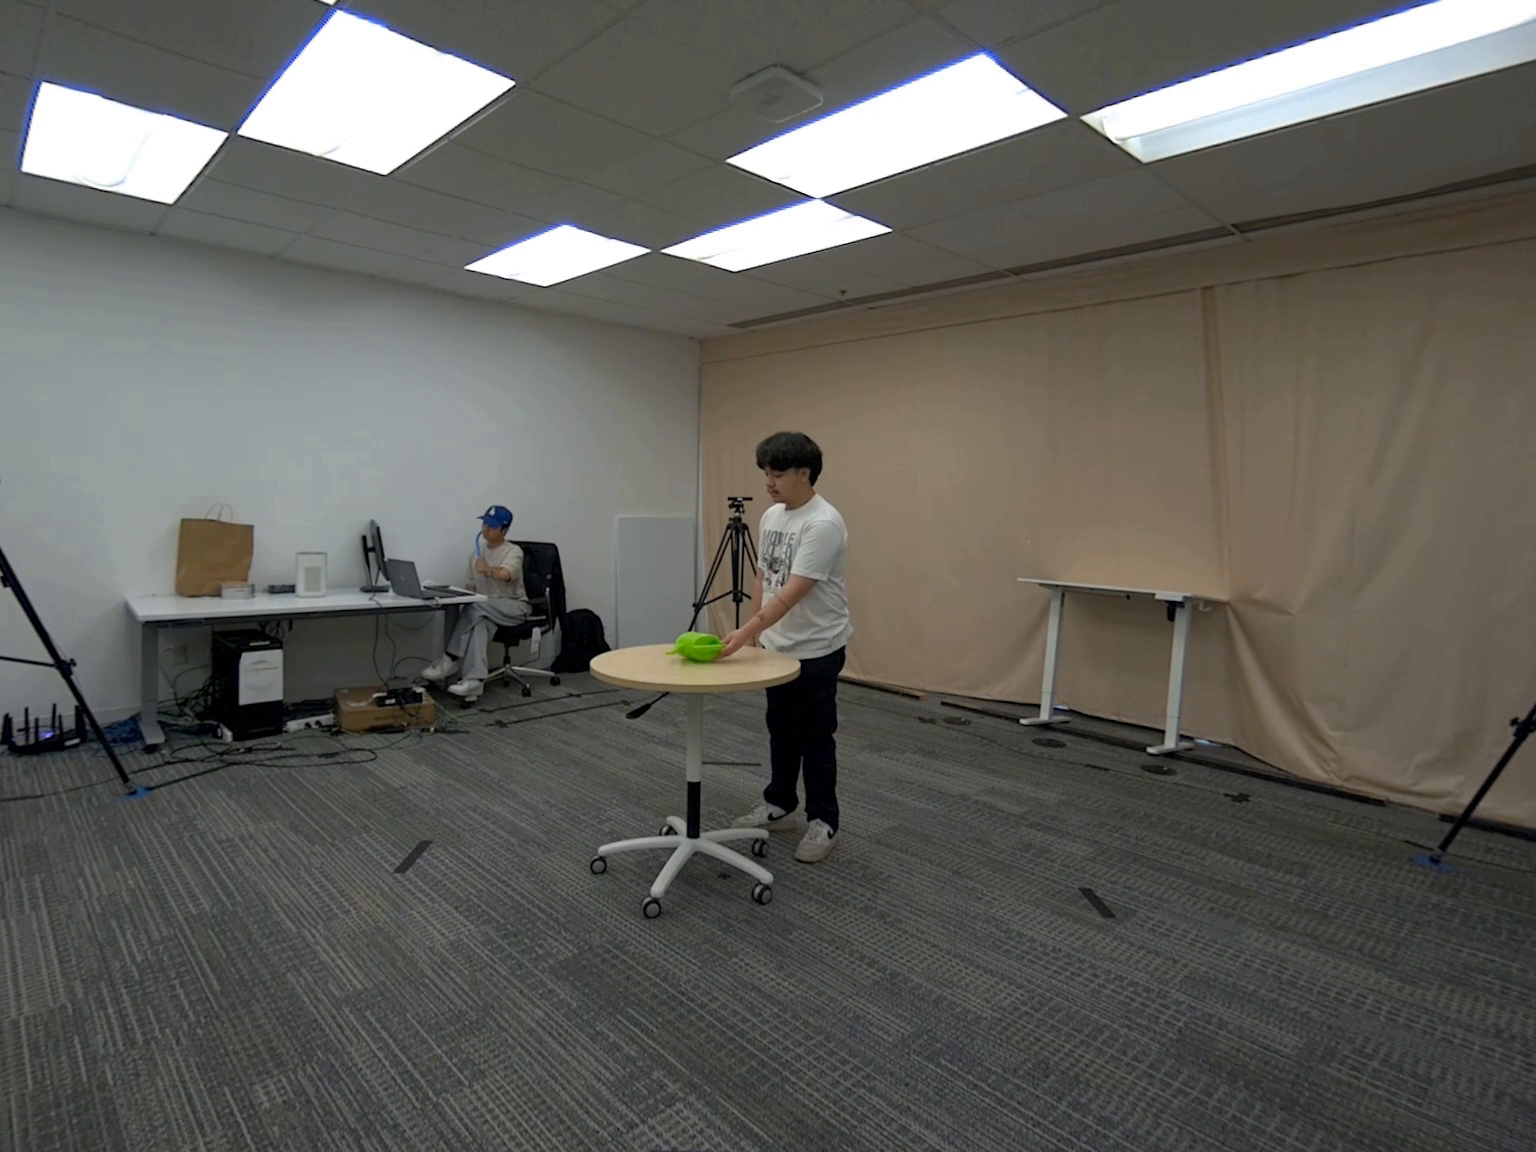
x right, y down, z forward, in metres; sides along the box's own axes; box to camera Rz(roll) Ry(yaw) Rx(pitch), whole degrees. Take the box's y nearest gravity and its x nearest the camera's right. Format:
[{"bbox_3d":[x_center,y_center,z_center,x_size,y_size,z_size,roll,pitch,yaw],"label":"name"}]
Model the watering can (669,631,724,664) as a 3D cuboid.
[{"bbox_3d":[-0.292,0.252,3.057,0.271,0.098,0.180,12,-7,-33],"label":"watering can"}]
